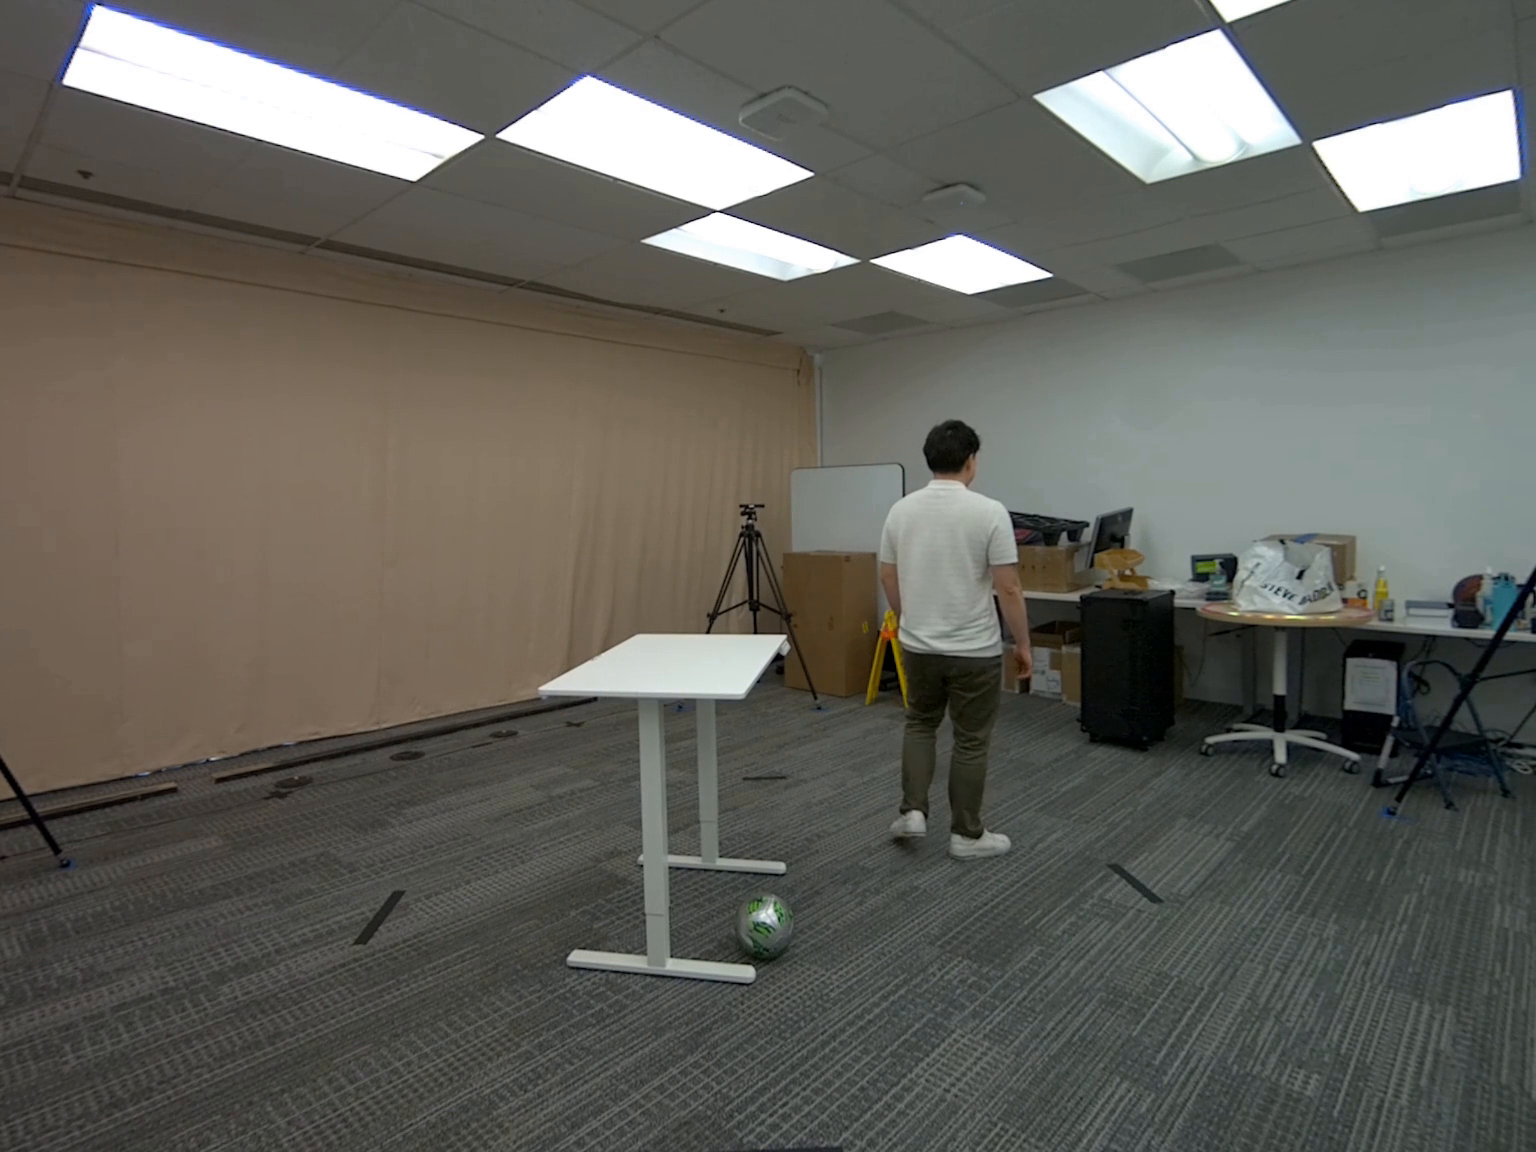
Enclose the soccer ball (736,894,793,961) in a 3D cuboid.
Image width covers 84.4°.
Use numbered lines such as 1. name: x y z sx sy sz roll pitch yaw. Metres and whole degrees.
1. soccer ball: -0.005 1.077 2.600 0.187 0.187 0.188 -1 4 -2
